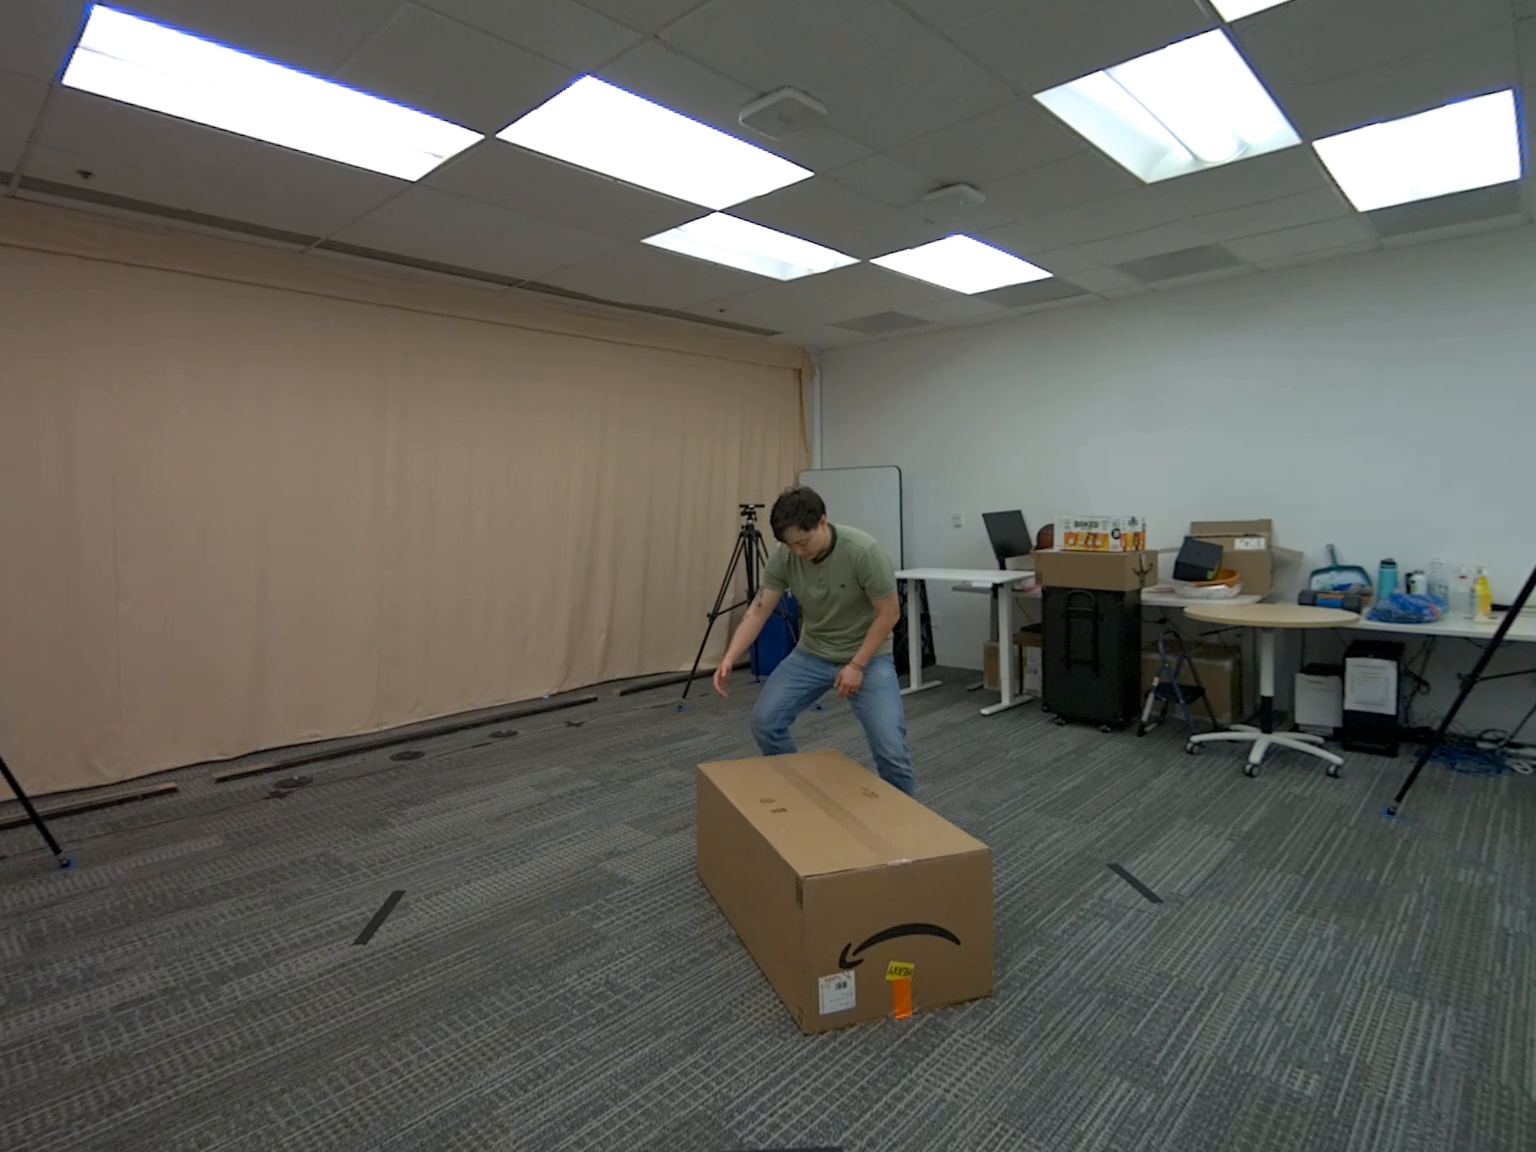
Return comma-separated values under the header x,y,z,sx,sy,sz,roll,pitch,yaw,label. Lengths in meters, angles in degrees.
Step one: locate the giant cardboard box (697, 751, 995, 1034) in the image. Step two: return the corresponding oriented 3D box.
x,y,z,sx,sy,sz,roll,pitch,yaw,label
0.181,0.940,2.752,0.567,0.425,1.047,-3,5,-19,giant cardboard box
